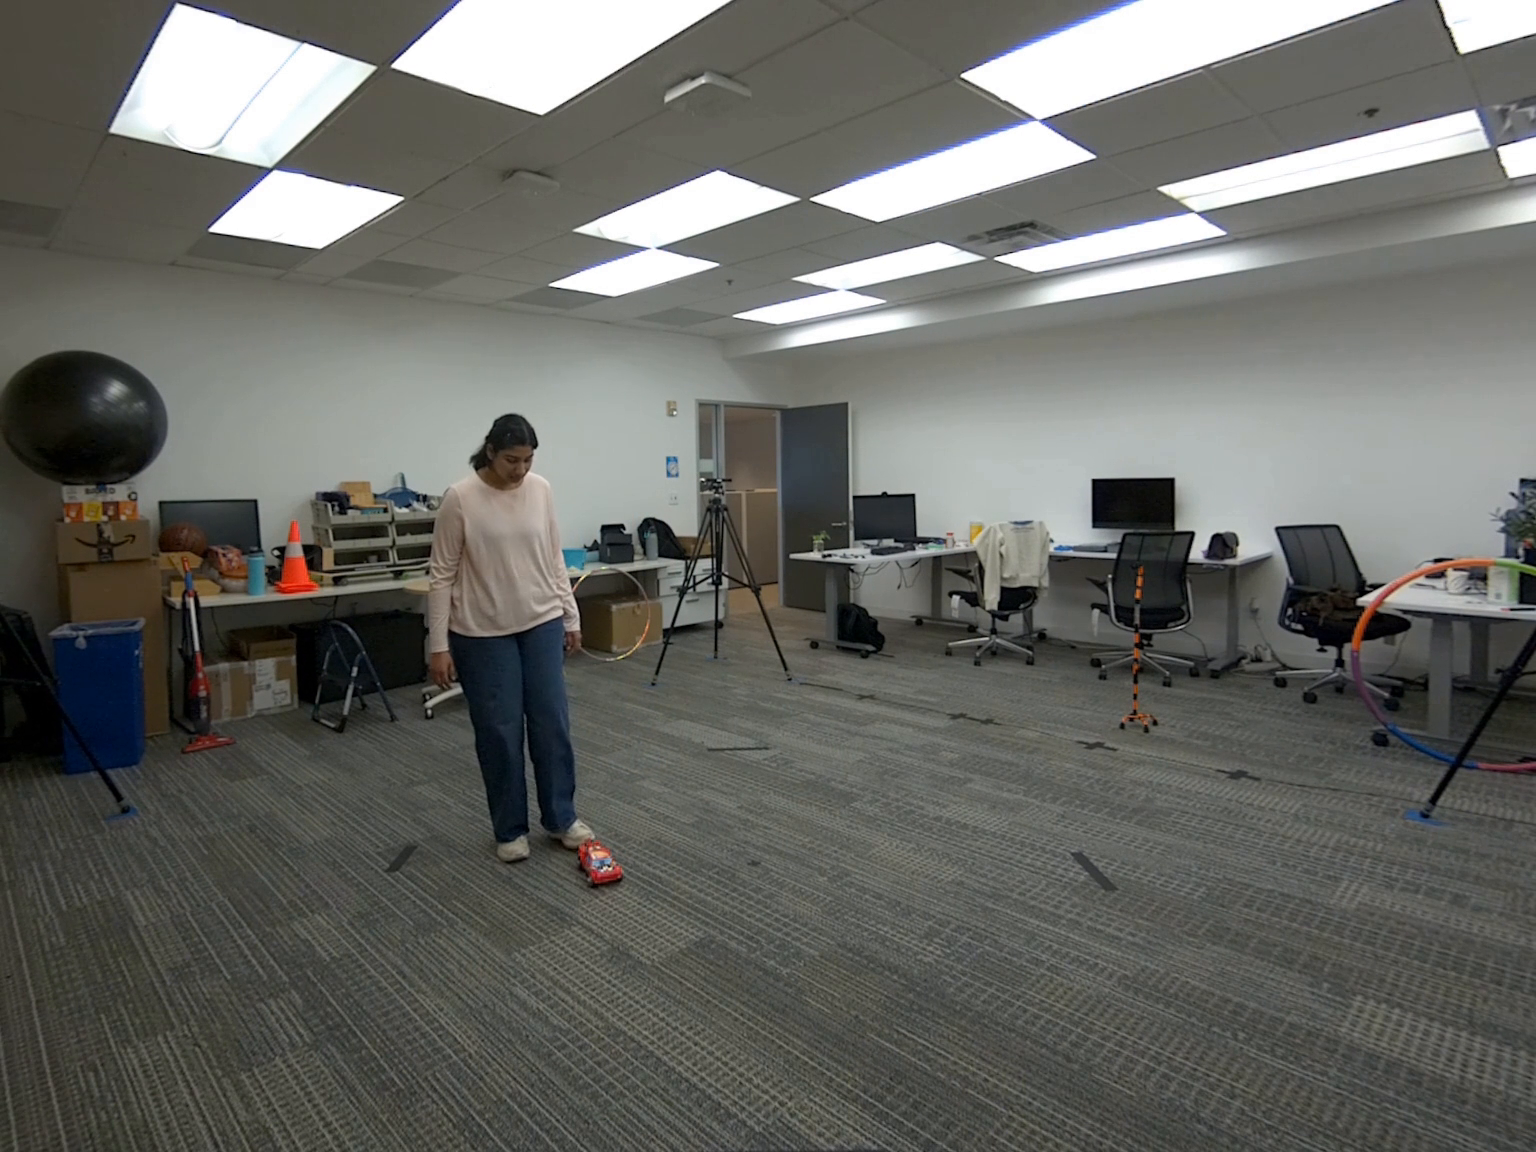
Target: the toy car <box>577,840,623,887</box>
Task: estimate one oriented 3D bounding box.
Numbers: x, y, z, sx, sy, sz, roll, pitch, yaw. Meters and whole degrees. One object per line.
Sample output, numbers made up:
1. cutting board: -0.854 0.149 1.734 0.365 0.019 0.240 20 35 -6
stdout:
1. toy car: -0.604 1.031 3.052 0.128 0.082 0.263 -5 17 -25
